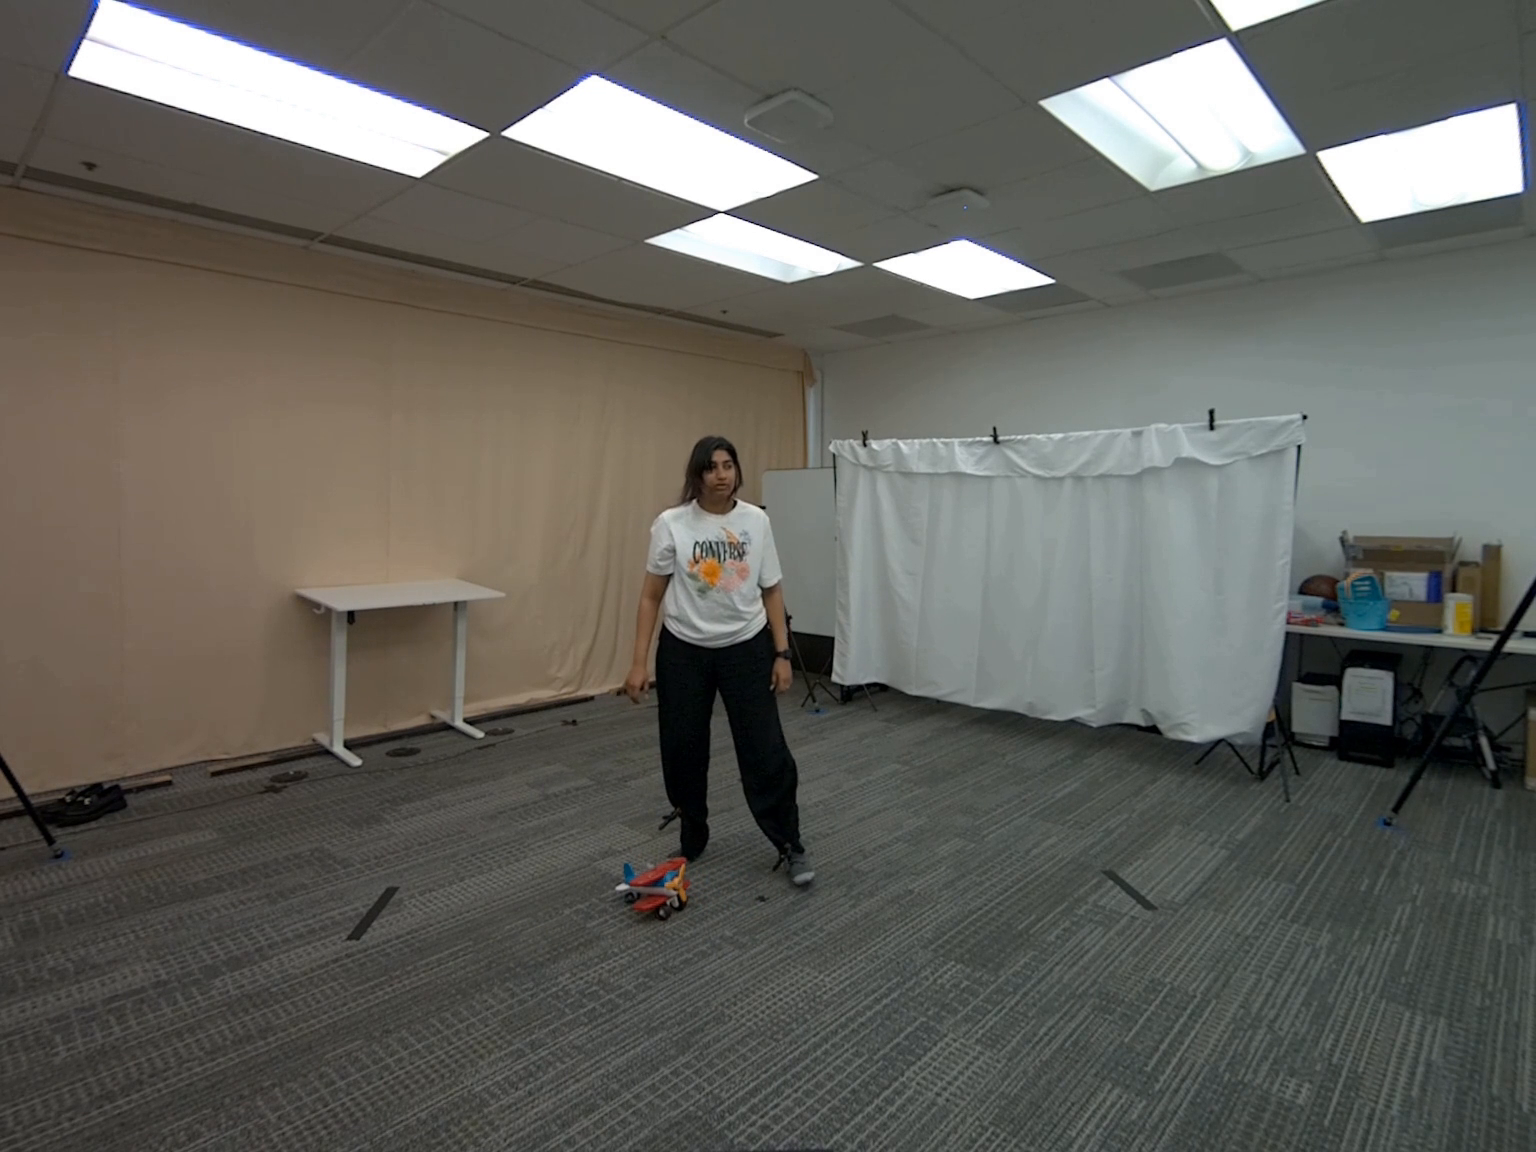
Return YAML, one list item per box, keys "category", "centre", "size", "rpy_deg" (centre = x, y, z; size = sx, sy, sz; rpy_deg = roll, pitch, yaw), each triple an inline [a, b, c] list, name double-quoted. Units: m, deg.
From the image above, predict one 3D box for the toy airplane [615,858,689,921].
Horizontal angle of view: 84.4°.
- category: "toy airplane"
  centre: [-0.410, 1.071, 2.902]
  size: [0.261, 0.156, 0.250]
  rpy_deg: [1, 5, 7]
